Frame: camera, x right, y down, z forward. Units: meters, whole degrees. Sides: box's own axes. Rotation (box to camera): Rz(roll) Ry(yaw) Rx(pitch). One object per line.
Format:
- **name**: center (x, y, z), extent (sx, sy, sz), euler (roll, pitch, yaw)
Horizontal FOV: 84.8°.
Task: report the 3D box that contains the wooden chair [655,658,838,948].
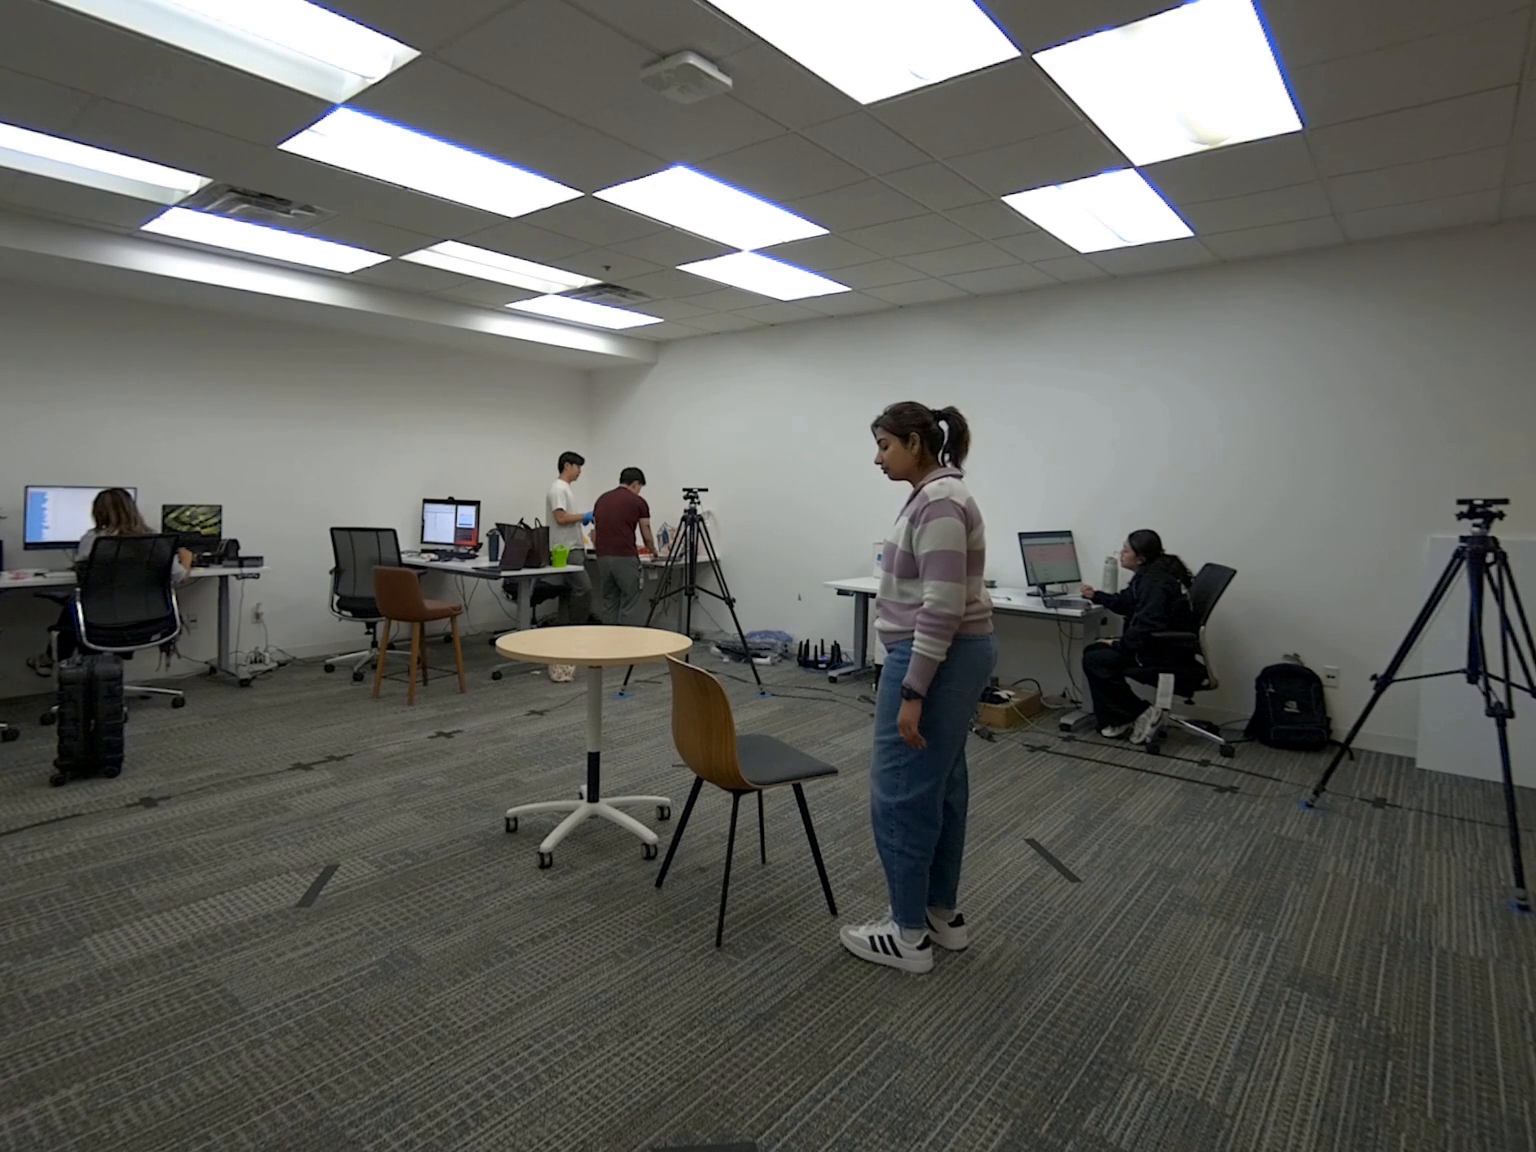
- **wooden chair**: center (-0.073, 0.669, 2.856), extent (0.510, 0.873, 0.492), euler (-5, 6, -31)
